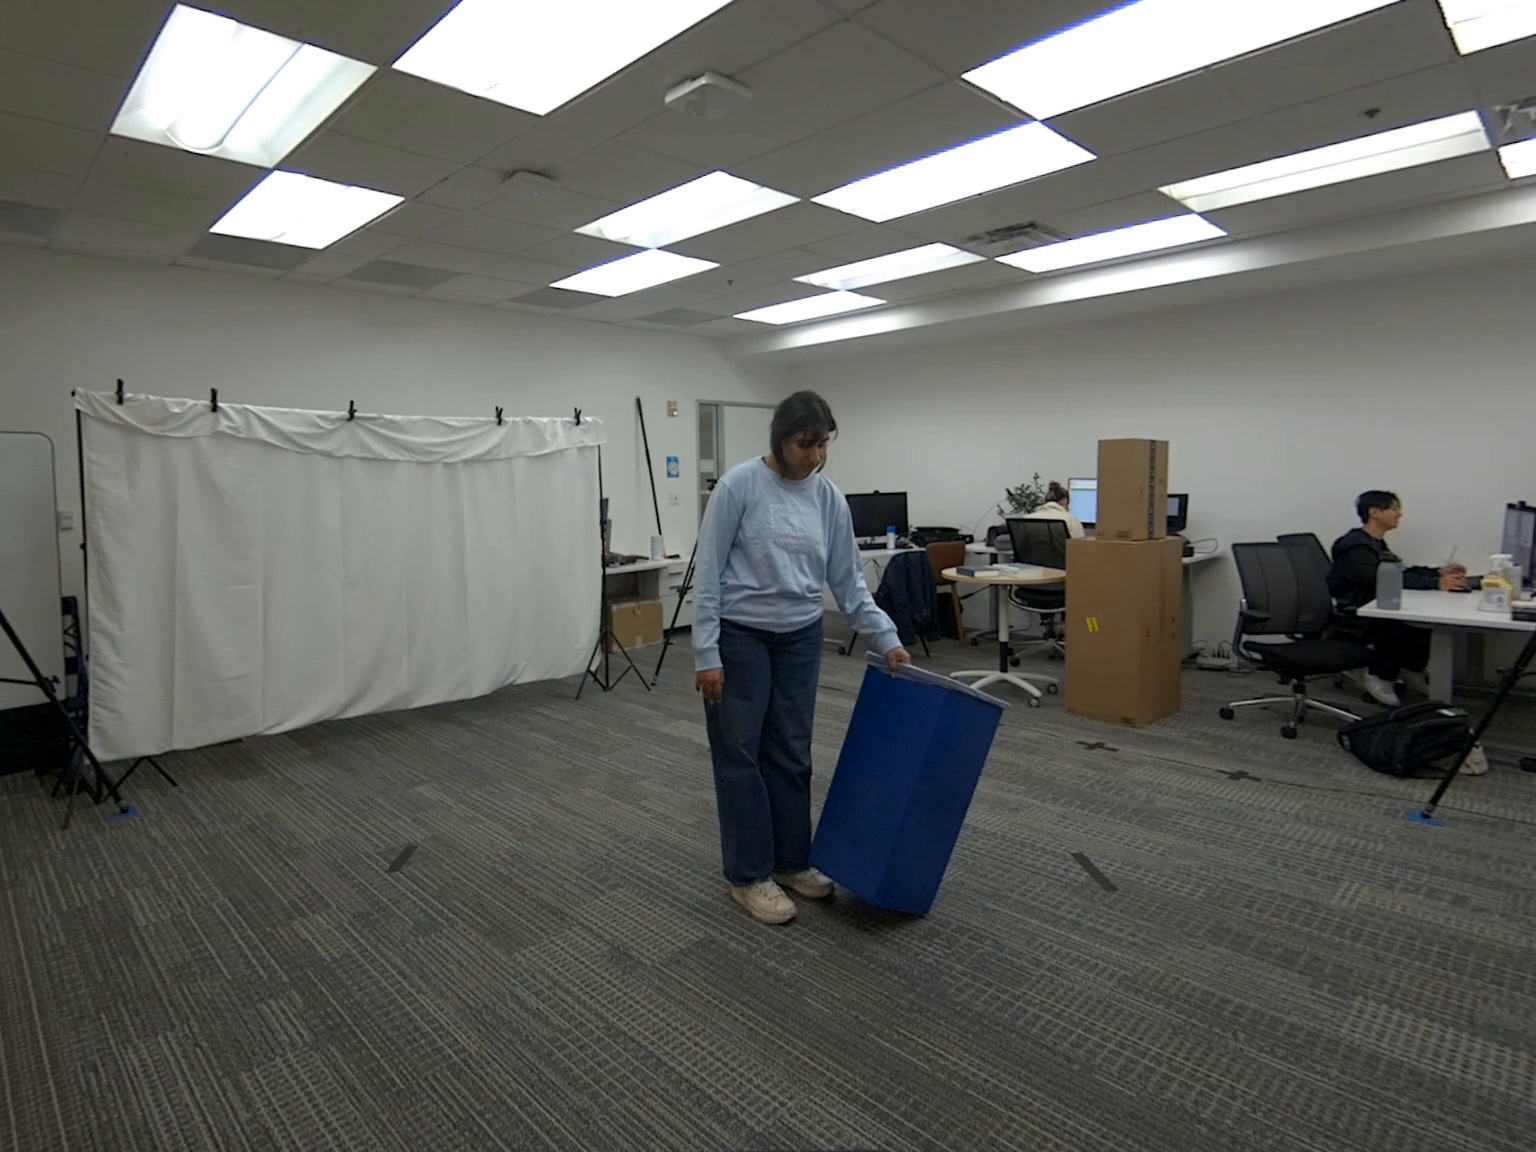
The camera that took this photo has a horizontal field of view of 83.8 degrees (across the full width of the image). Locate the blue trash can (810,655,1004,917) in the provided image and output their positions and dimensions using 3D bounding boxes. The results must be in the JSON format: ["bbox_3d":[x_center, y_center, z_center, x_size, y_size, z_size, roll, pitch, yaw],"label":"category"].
[{"bbox_3d":[0.436,0.662,2.768,0.360,0.716,0.390,26,-10,-39],"label":"blue trash can"}]
